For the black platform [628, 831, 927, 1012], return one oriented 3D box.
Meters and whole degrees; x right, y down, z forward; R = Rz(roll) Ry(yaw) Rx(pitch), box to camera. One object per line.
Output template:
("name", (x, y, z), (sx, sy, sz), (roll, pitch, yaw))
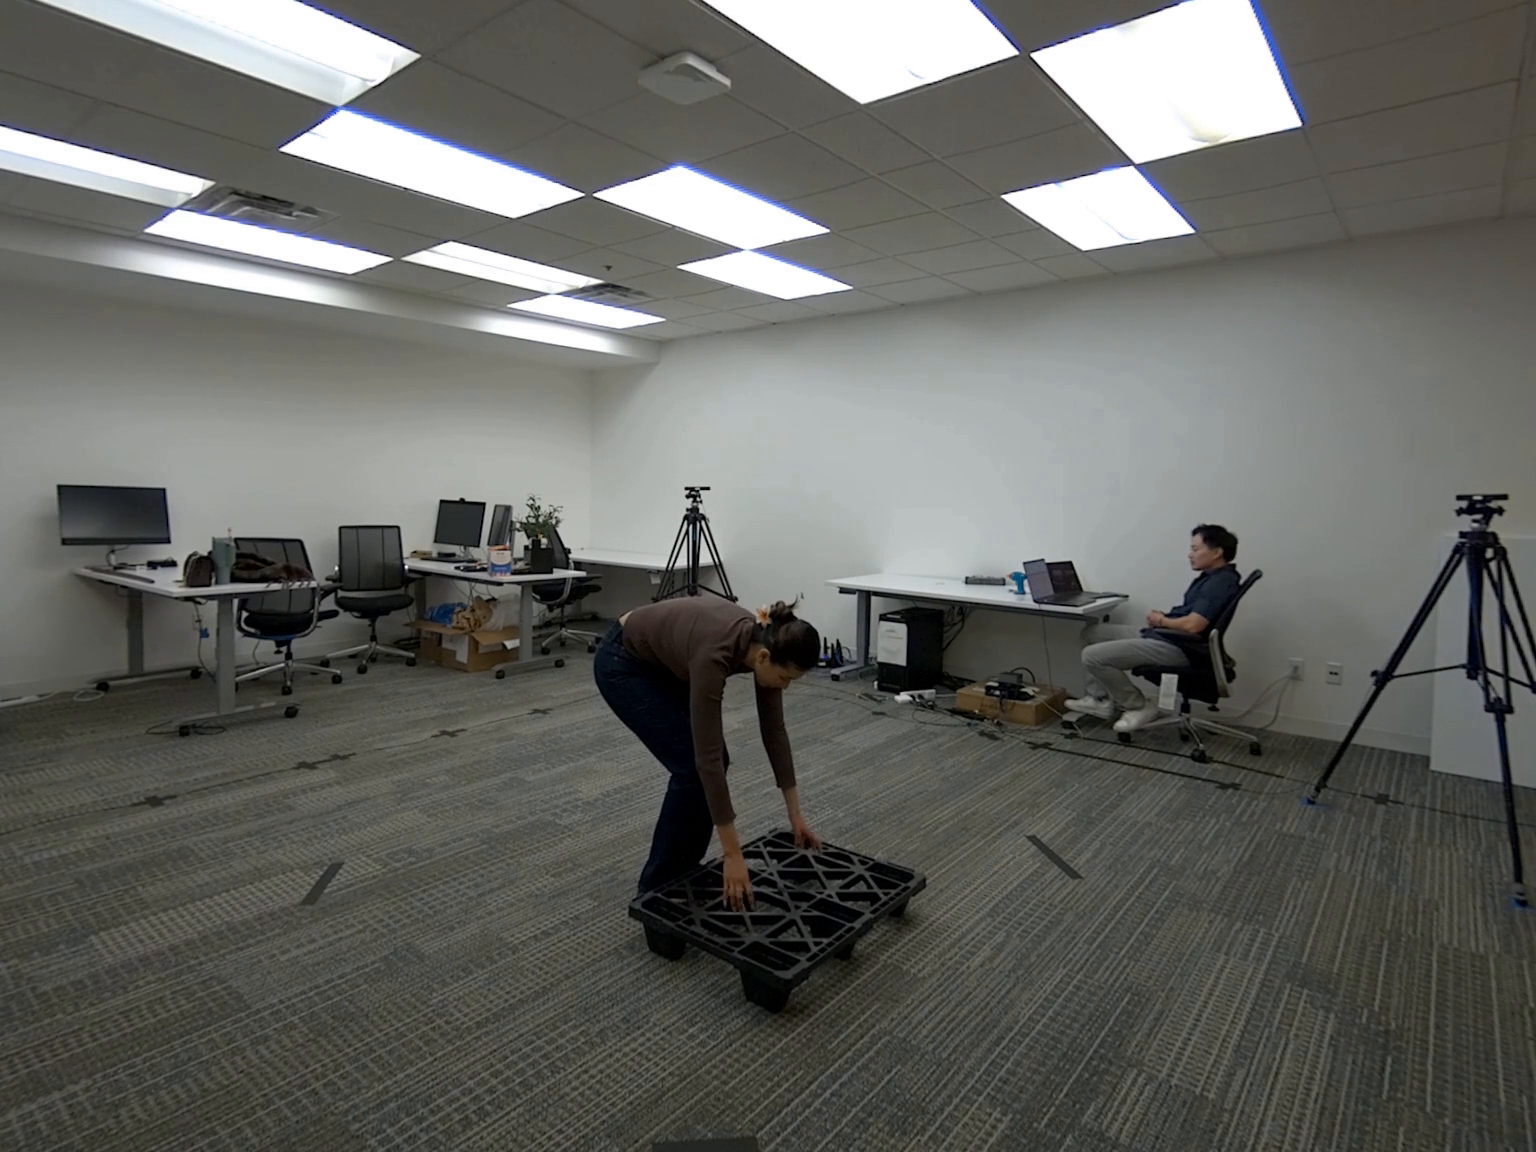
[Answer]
("black platform", (0.034, 1.046, 2.675), (0.625, 0.143, 0.782), (5, 7, 38))
